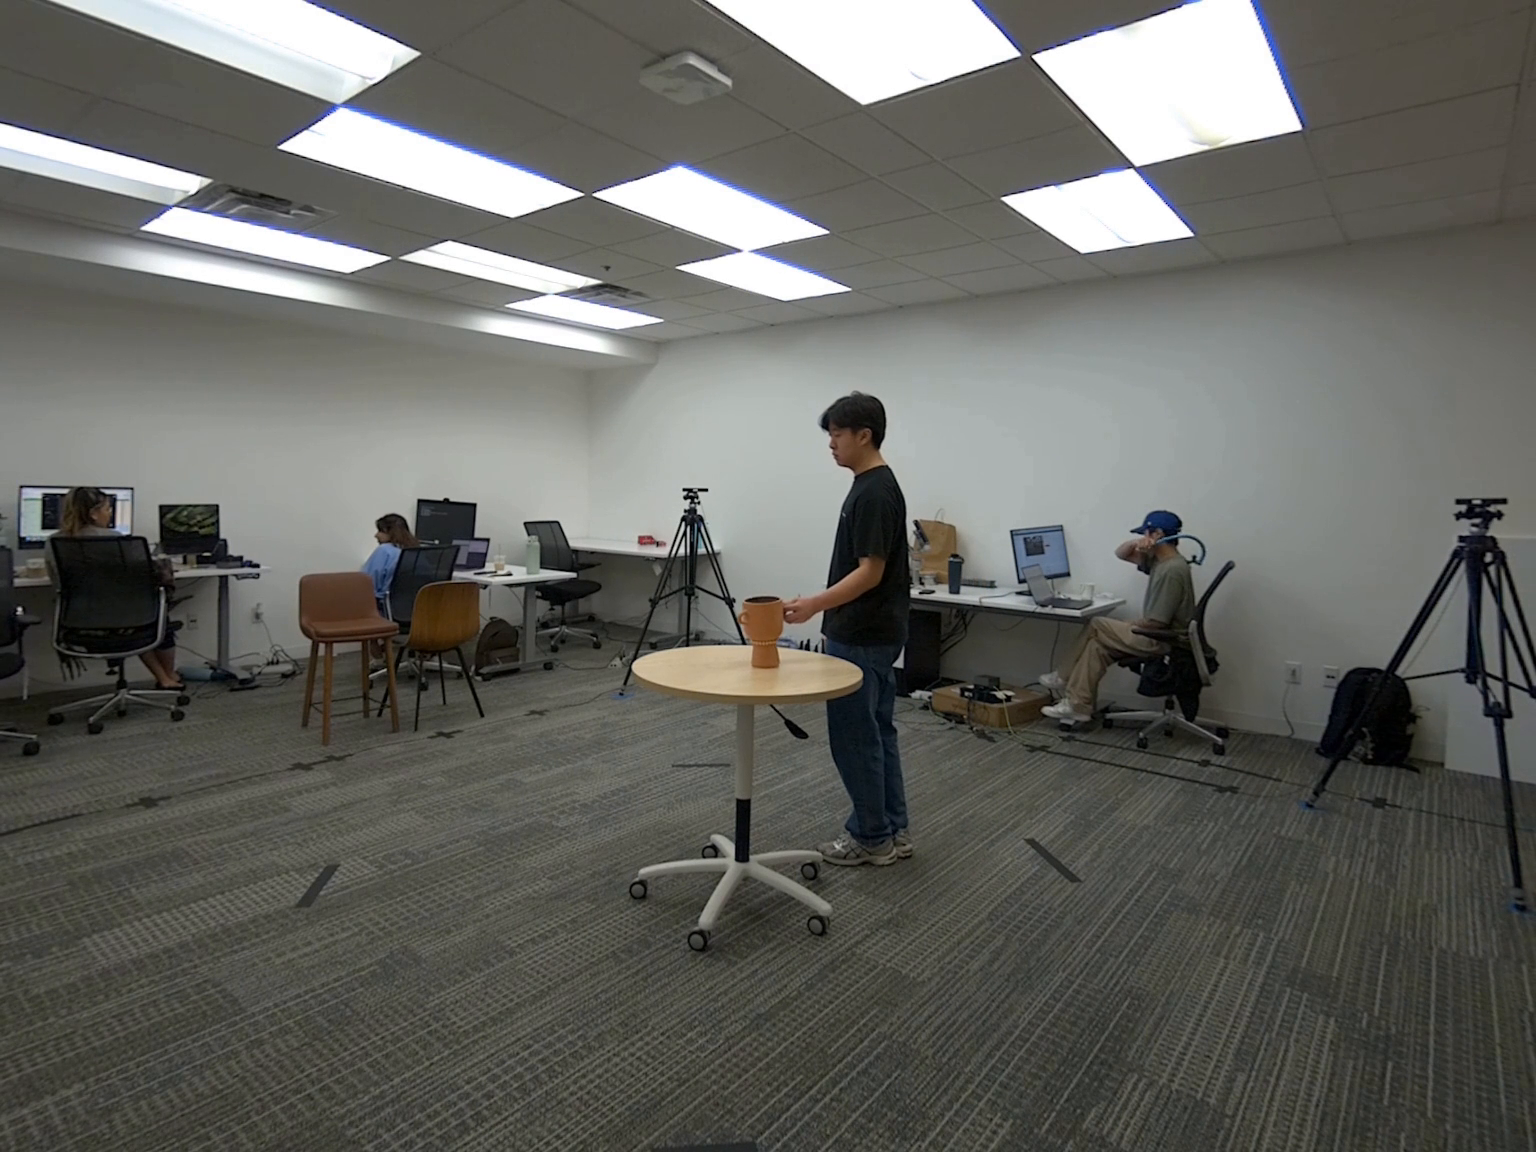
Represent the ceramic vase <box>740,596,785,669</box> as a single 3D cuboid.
[{"bbox_3d":[-0.024,0.183,2.861,0.160,0.218,0.135,0,6,5],"label":"ceramic vase"}]
